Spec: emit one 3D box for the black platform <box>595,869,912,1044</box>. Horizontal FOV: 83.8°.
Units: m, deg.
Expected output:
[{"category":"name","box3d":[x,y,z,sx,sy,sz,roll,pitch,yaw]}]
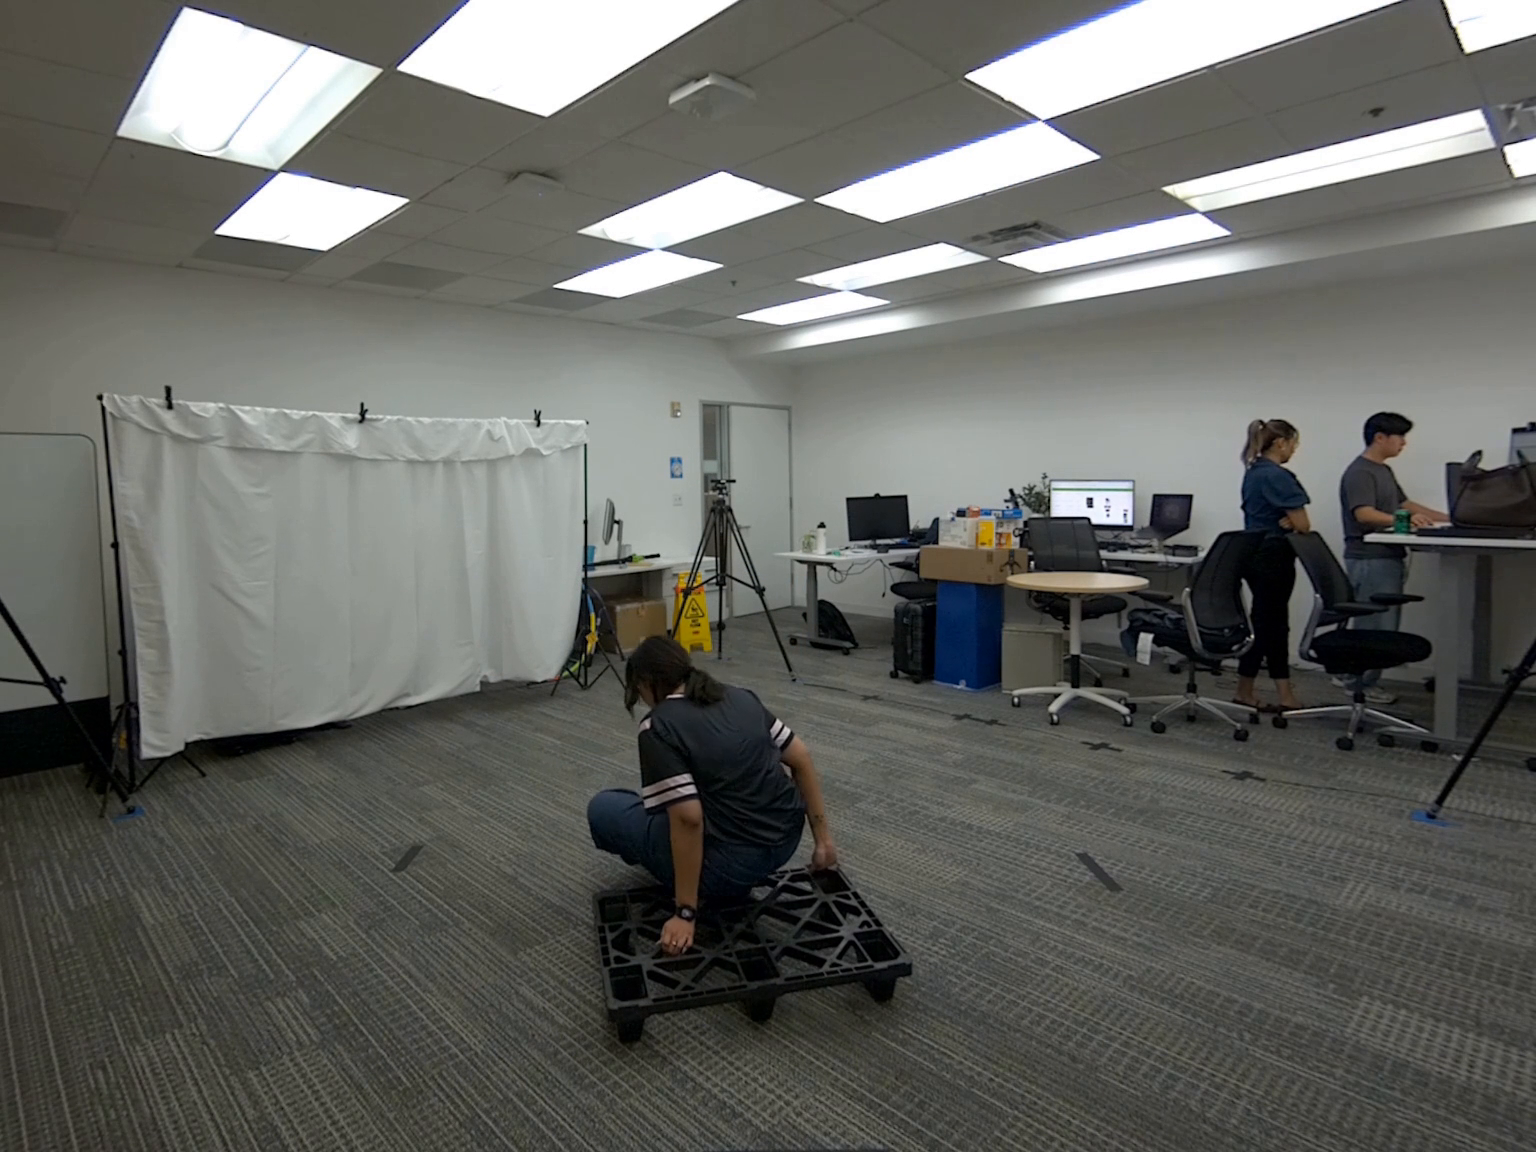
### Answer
[{"category":"black platform","box3d":[-0.083,1.060,2.435,0.796,0.142,0.615,-2,7,-12]}]
